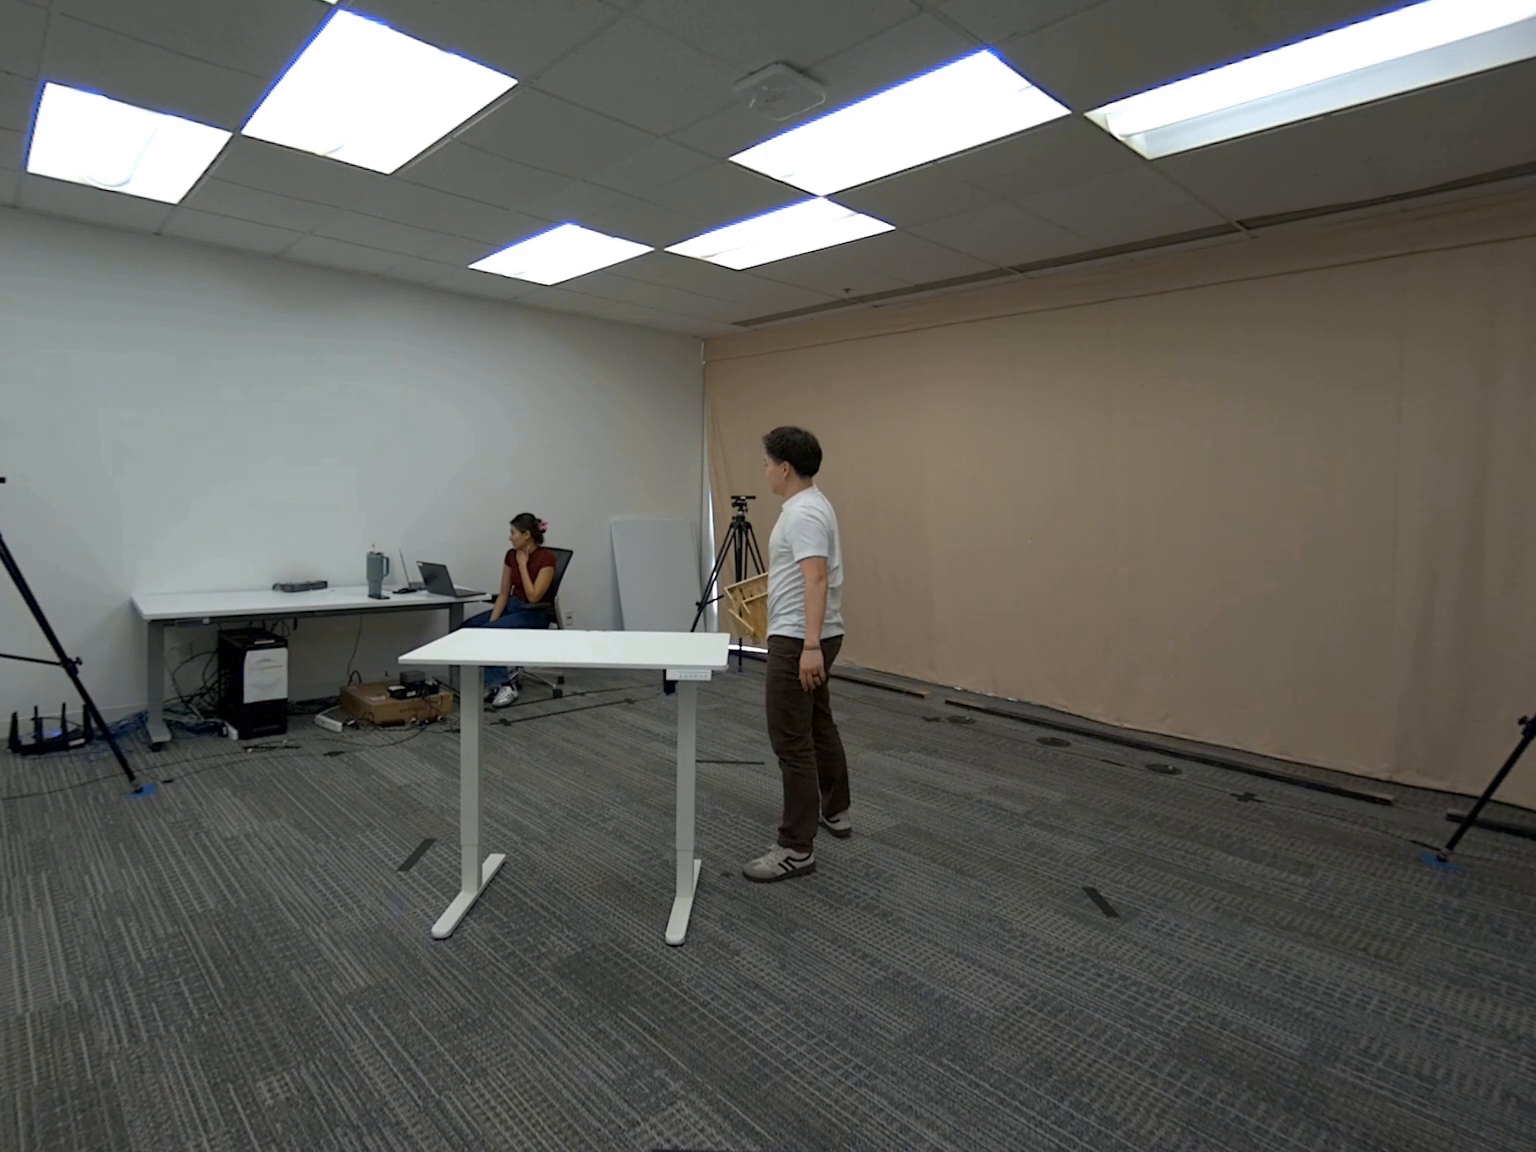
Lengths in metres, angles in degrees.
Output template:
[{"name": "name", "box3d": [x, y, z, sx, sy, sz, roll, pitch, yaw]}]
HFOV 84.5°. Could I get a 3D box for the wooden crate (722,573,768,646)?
[{"name": "wooden crate", "box3d": [-0.010, 0.138, 3.946, 0.321, 0.303, 0.275, -18, -4, -22]}]
